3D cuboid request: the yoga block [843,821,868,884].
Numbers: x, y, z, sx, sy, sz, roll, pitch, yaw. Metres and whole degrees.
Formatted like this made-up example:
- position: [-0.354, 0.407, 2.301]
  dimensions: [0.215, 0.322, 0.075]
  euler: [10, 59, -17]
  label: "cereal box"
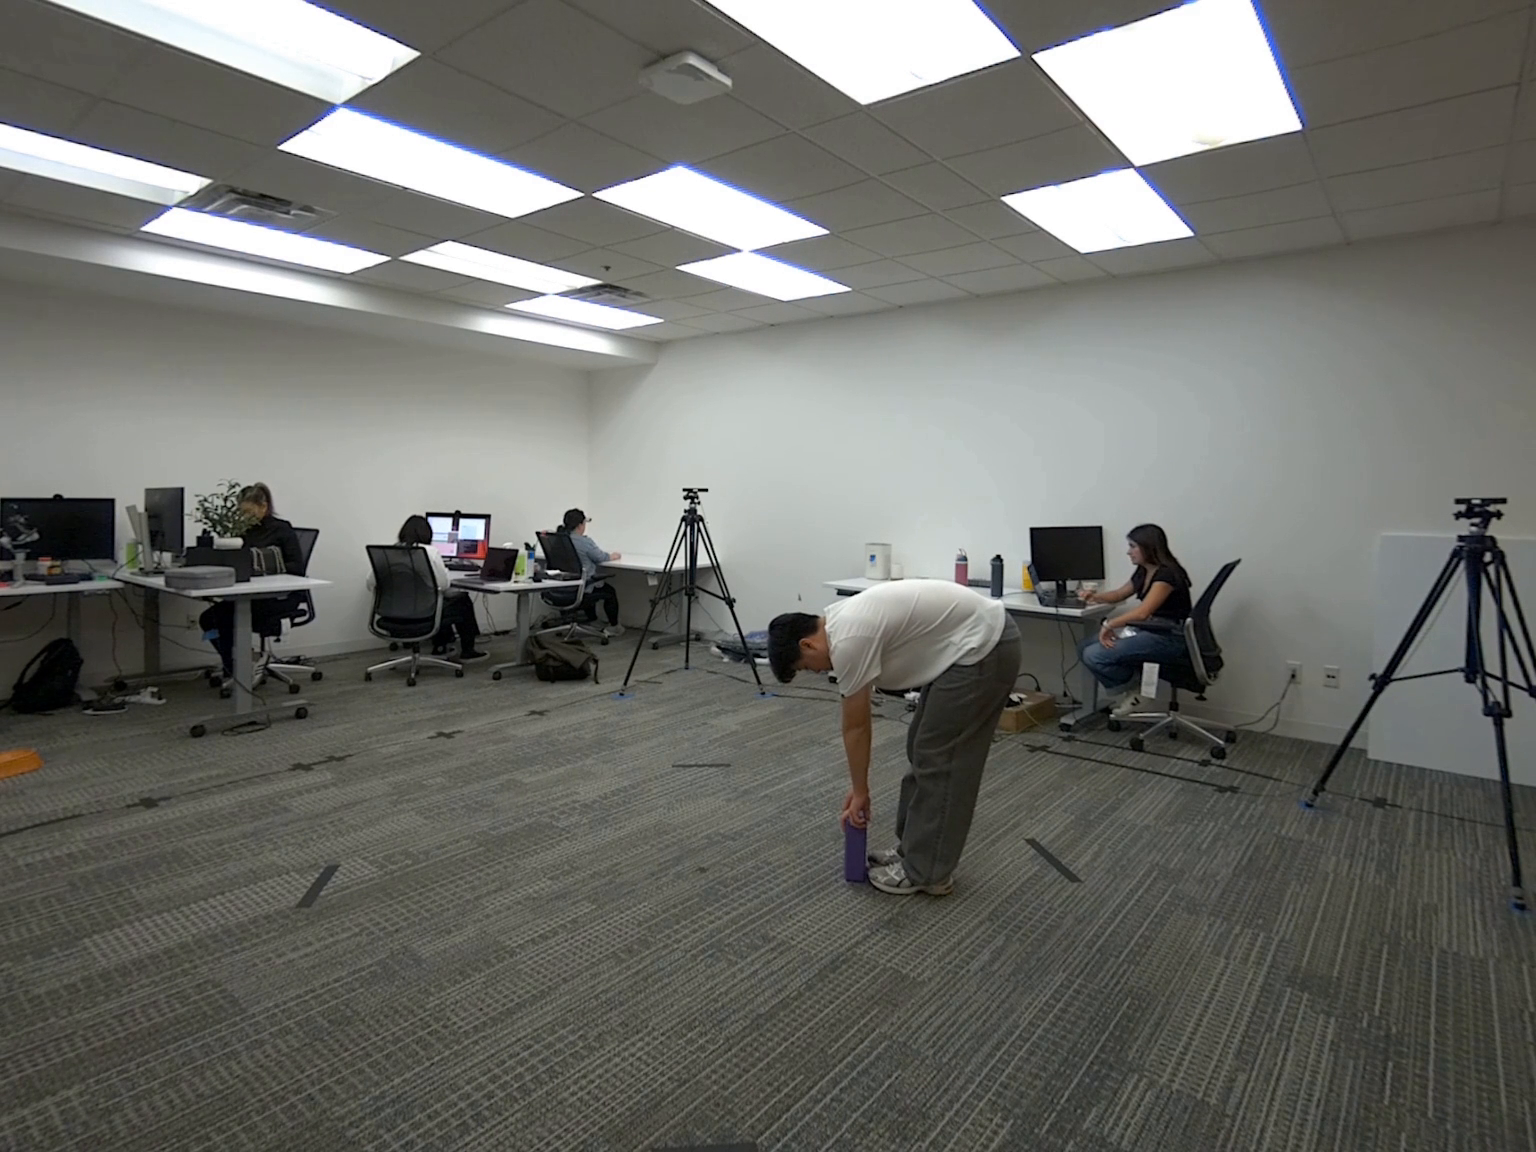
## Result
- position: [0.321, 0.971, 3.112]
  dimensions: [0.077, 0.229, 0.149]
  euler: [1, 3, 2]
  label: "yoga block"
